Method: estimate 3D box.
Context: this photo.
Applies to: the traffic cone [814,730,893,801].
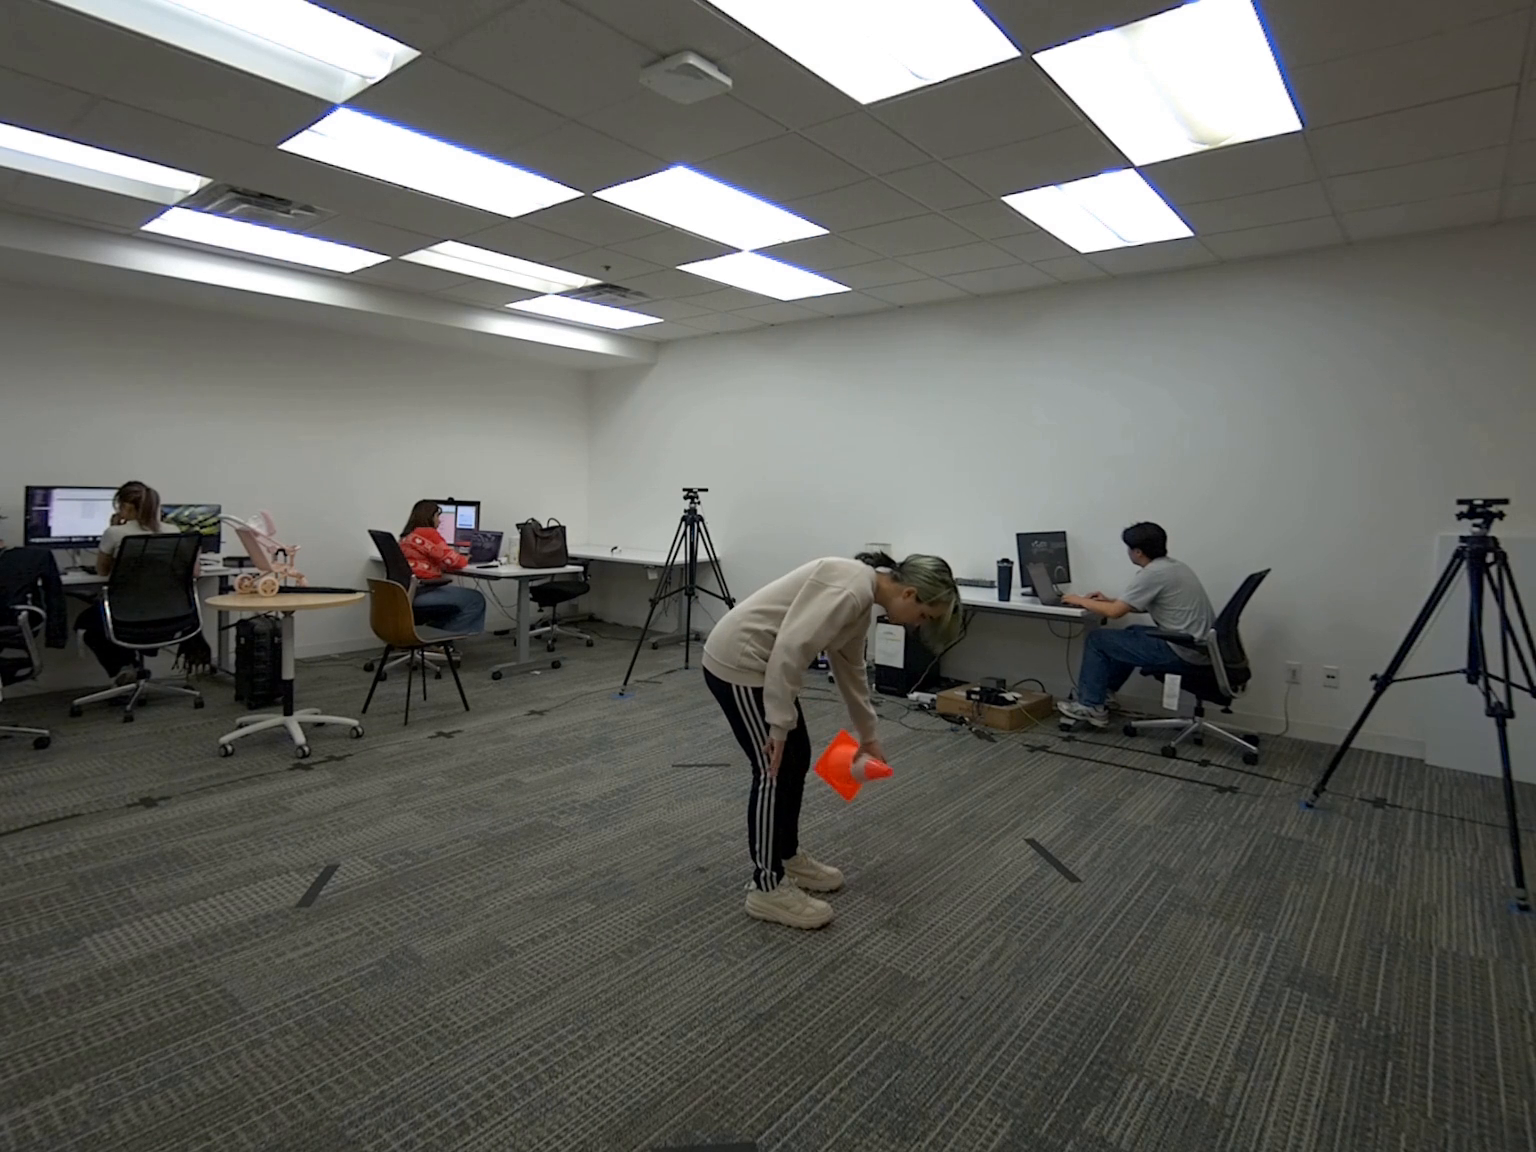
[{"bbox_3d":[0.339,0.693,3.083,0.203,0.204,0.385,34,-15,-7],"label":"traffic cone"}]
